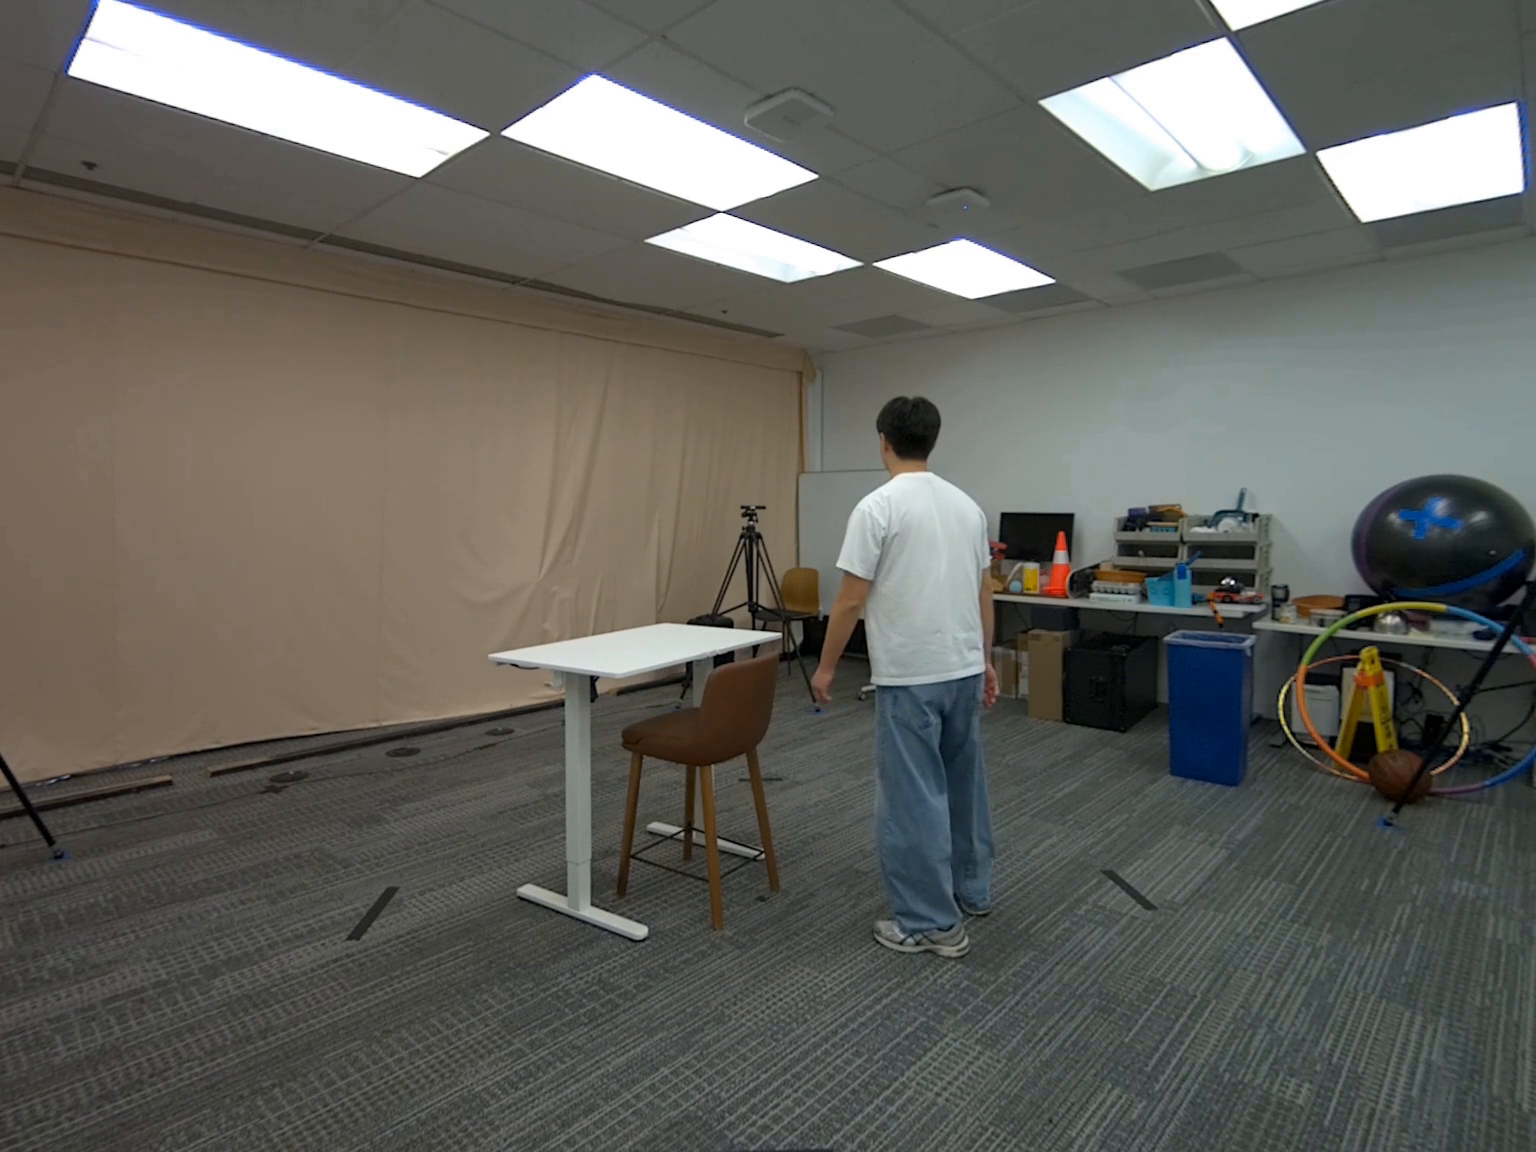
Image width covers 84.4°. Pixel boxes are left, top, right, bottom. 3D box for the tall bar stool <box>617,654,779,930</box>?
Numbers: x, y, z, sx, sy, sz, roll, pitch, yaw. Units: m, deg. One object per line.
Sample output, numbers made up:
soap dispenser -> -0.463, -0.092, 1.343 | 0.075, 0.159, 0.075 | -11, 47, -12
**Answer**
tall bar stool -> -0.231, 0.707, 3.017 | 0.483, 0.887, 0.443 | 6, 7, 36
